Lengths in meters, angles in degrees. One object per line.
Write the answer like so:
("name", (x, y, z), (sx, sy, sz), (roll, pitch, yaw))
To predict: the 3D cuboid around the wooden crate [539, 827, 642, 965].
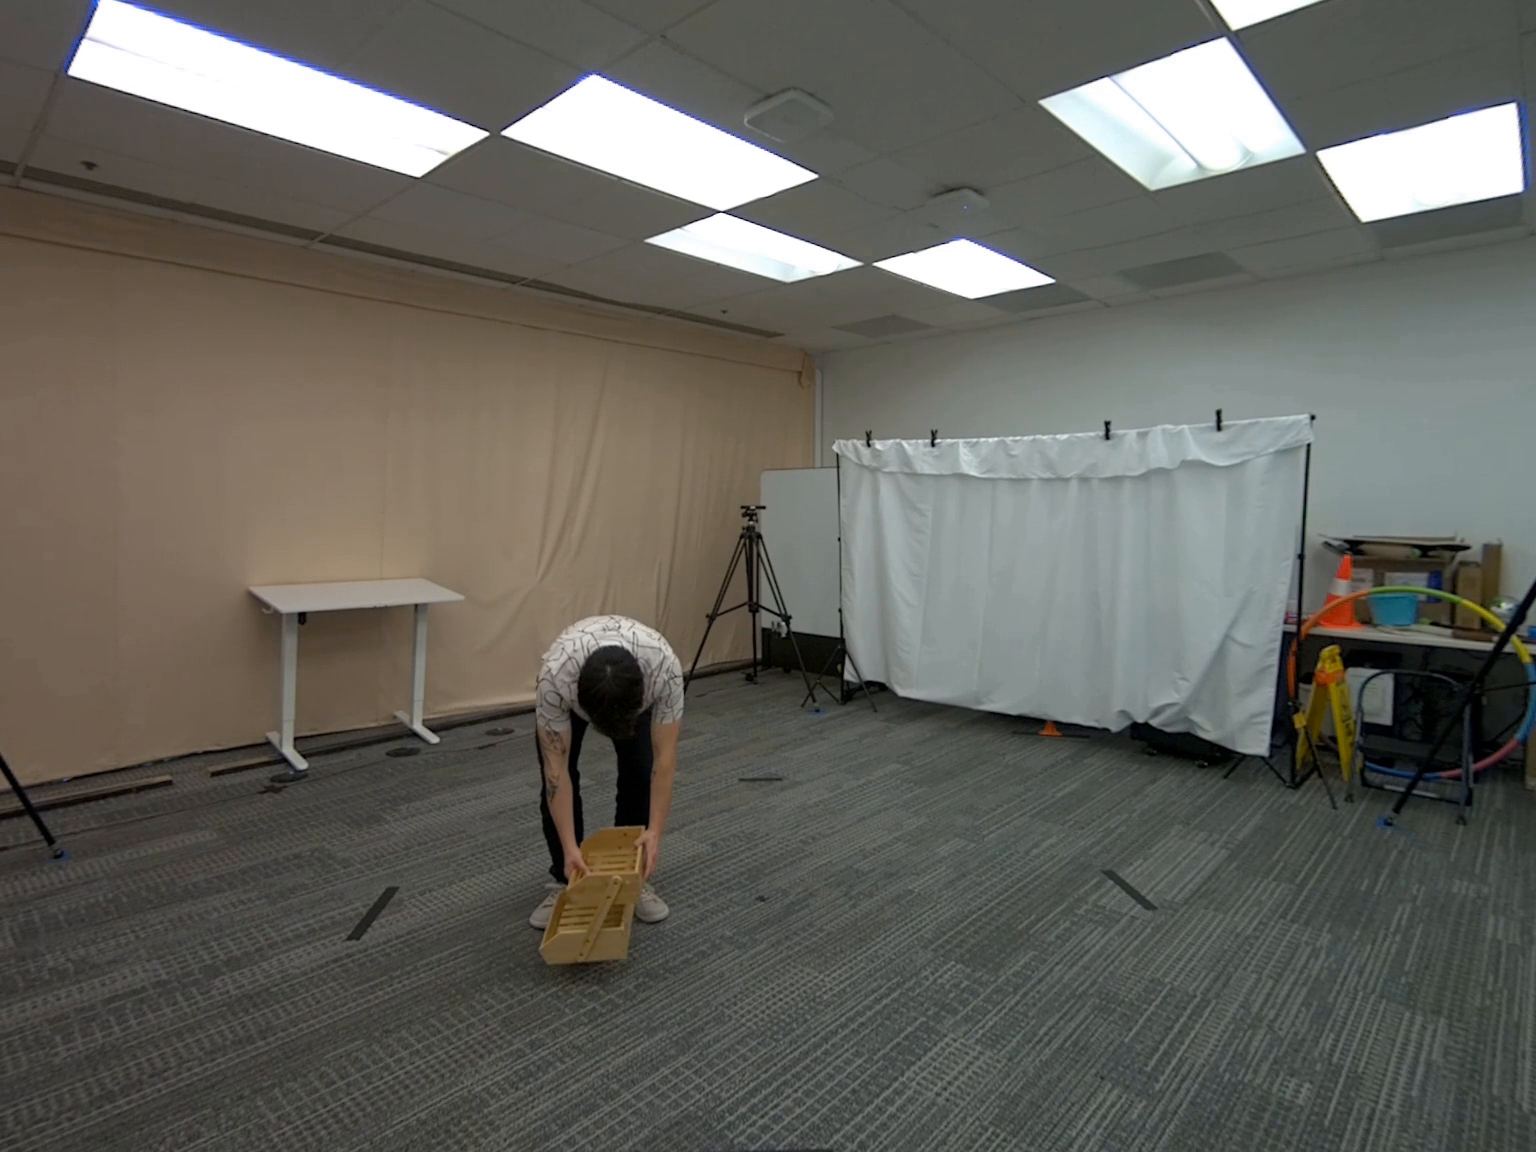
("wooden crate", (-0.531, 0.955, 2.559), (0.301, 0.272, 0.327), (-4, 8, -3))
